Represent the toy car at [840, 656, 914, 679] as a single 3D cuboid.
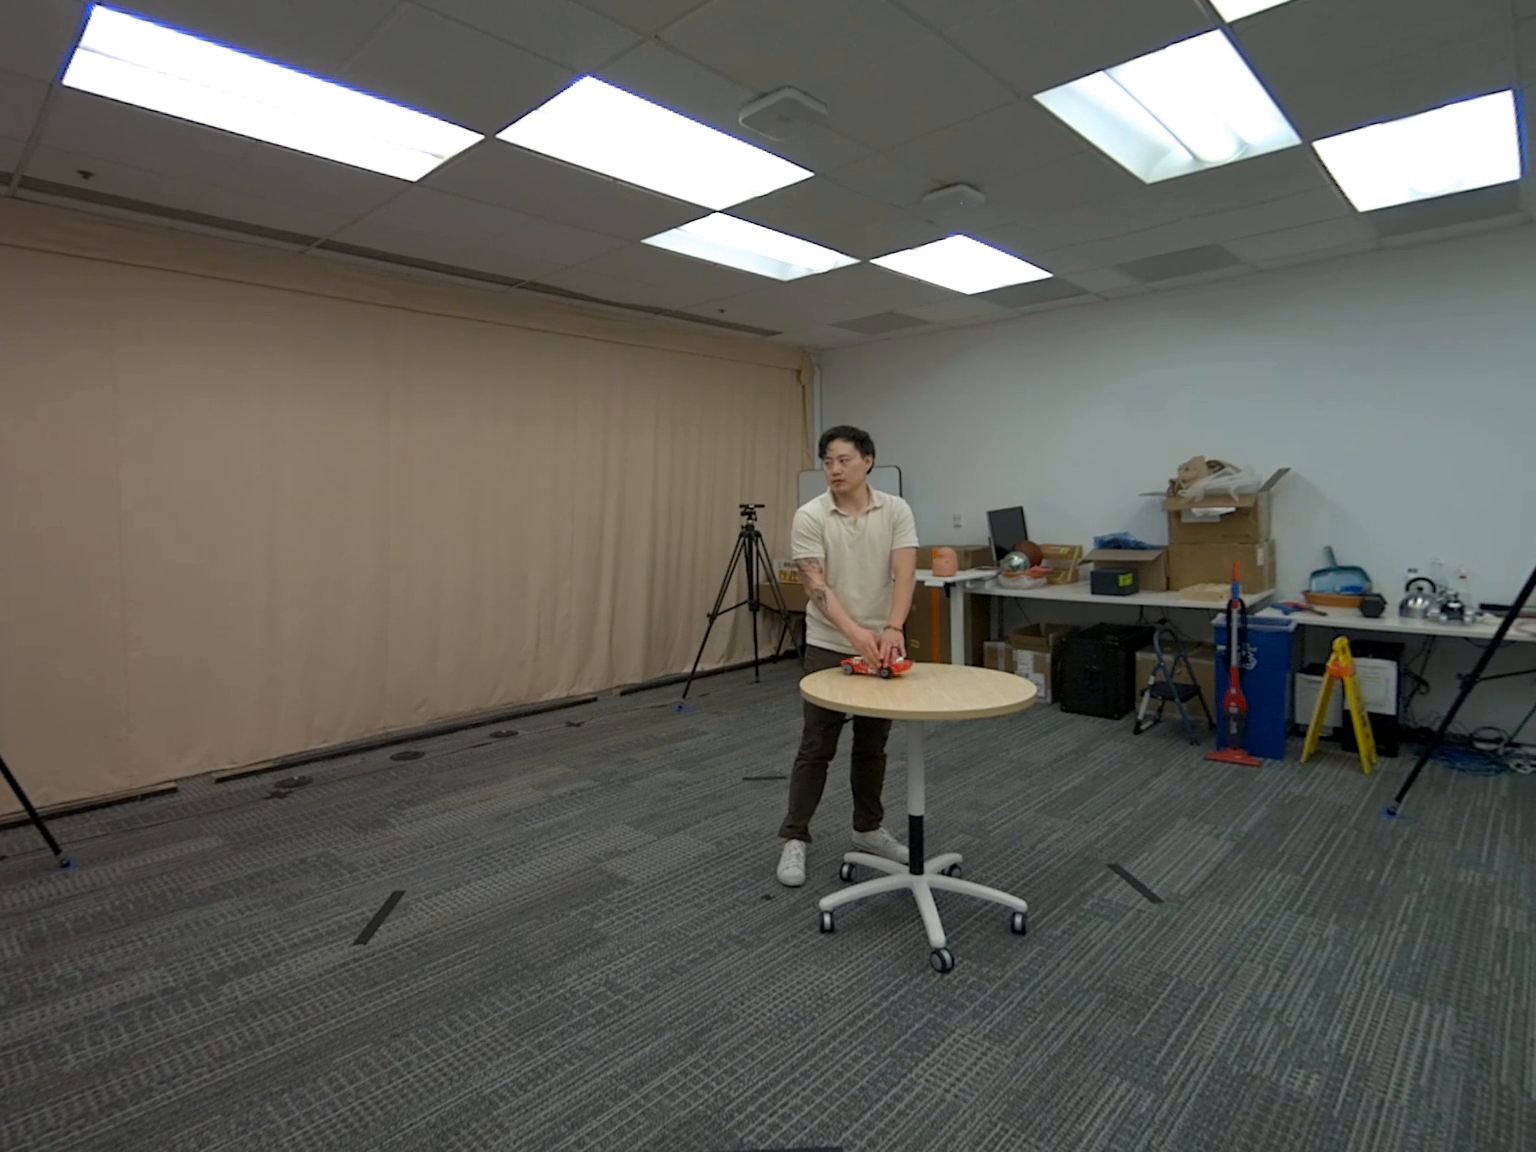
[{"bbox_3d":[0.399,0.320,2.973,0.261,0.083,0.126,-10,-3,34],"label":"toy car"}]
